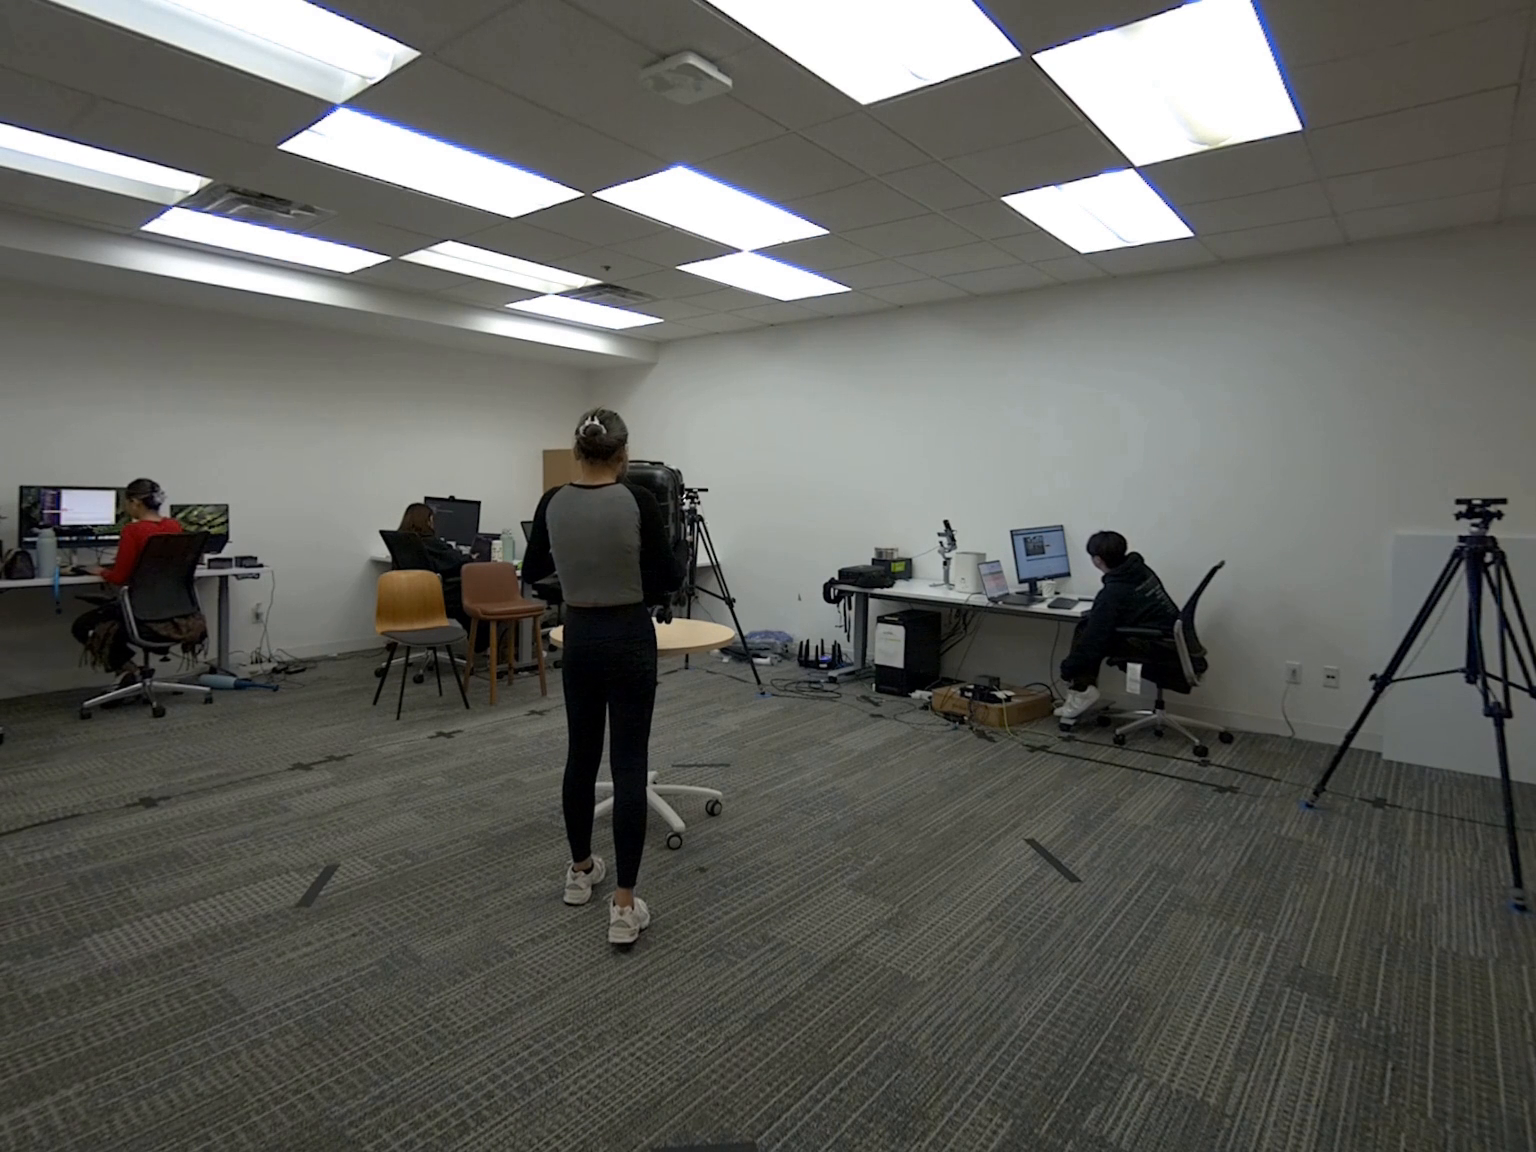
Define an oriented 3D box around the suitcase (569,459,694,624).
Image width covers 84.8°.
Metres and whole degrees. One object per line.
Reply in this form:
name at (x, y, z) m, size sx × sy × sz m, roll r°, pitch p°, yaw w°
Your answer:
suitcase at (-0.496, -0.141, 3.089) m, size 0.382 × 0.543 × 0.246 m, roll 3°, pitch 11°, yaw 16°
